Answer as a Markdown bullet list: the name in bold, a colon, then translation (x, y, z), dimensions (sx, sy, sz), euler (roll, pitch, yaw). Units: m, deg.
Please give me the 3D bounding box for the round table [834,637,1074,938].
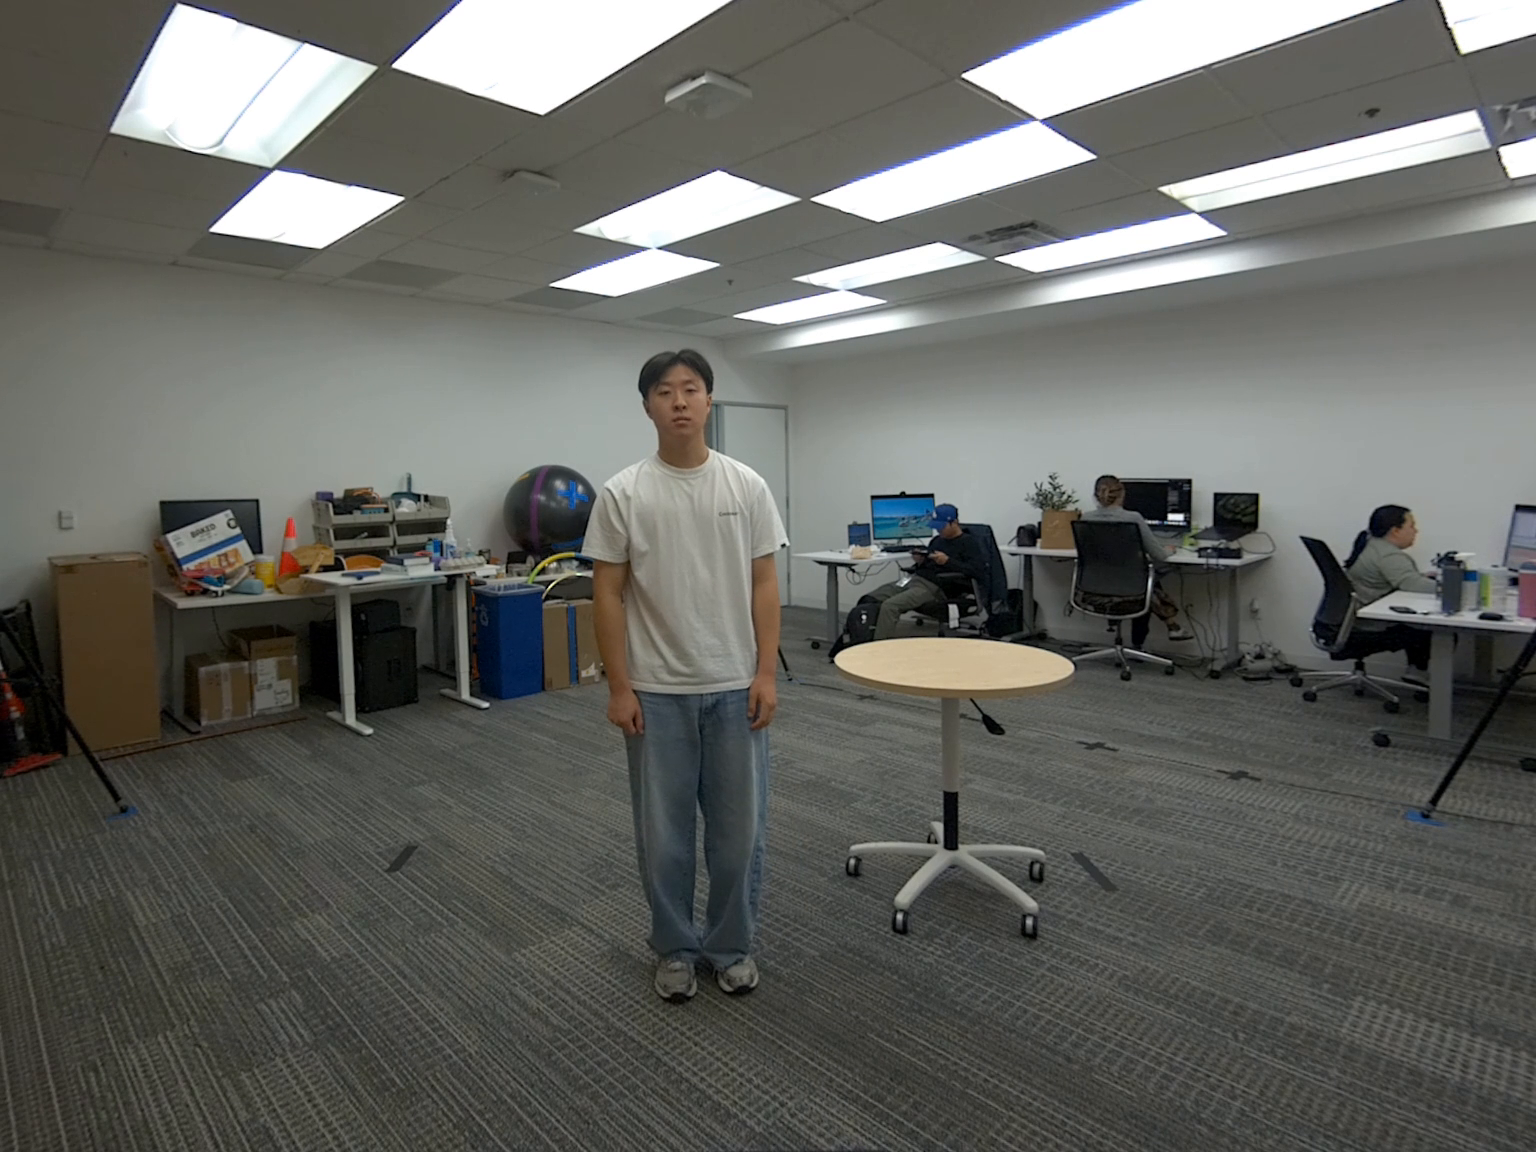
- **round table**: translation (0.610, 0.674, 2.861), dimensions (0.763, 0.791, 0.768), euler (-1, 5, -2)
